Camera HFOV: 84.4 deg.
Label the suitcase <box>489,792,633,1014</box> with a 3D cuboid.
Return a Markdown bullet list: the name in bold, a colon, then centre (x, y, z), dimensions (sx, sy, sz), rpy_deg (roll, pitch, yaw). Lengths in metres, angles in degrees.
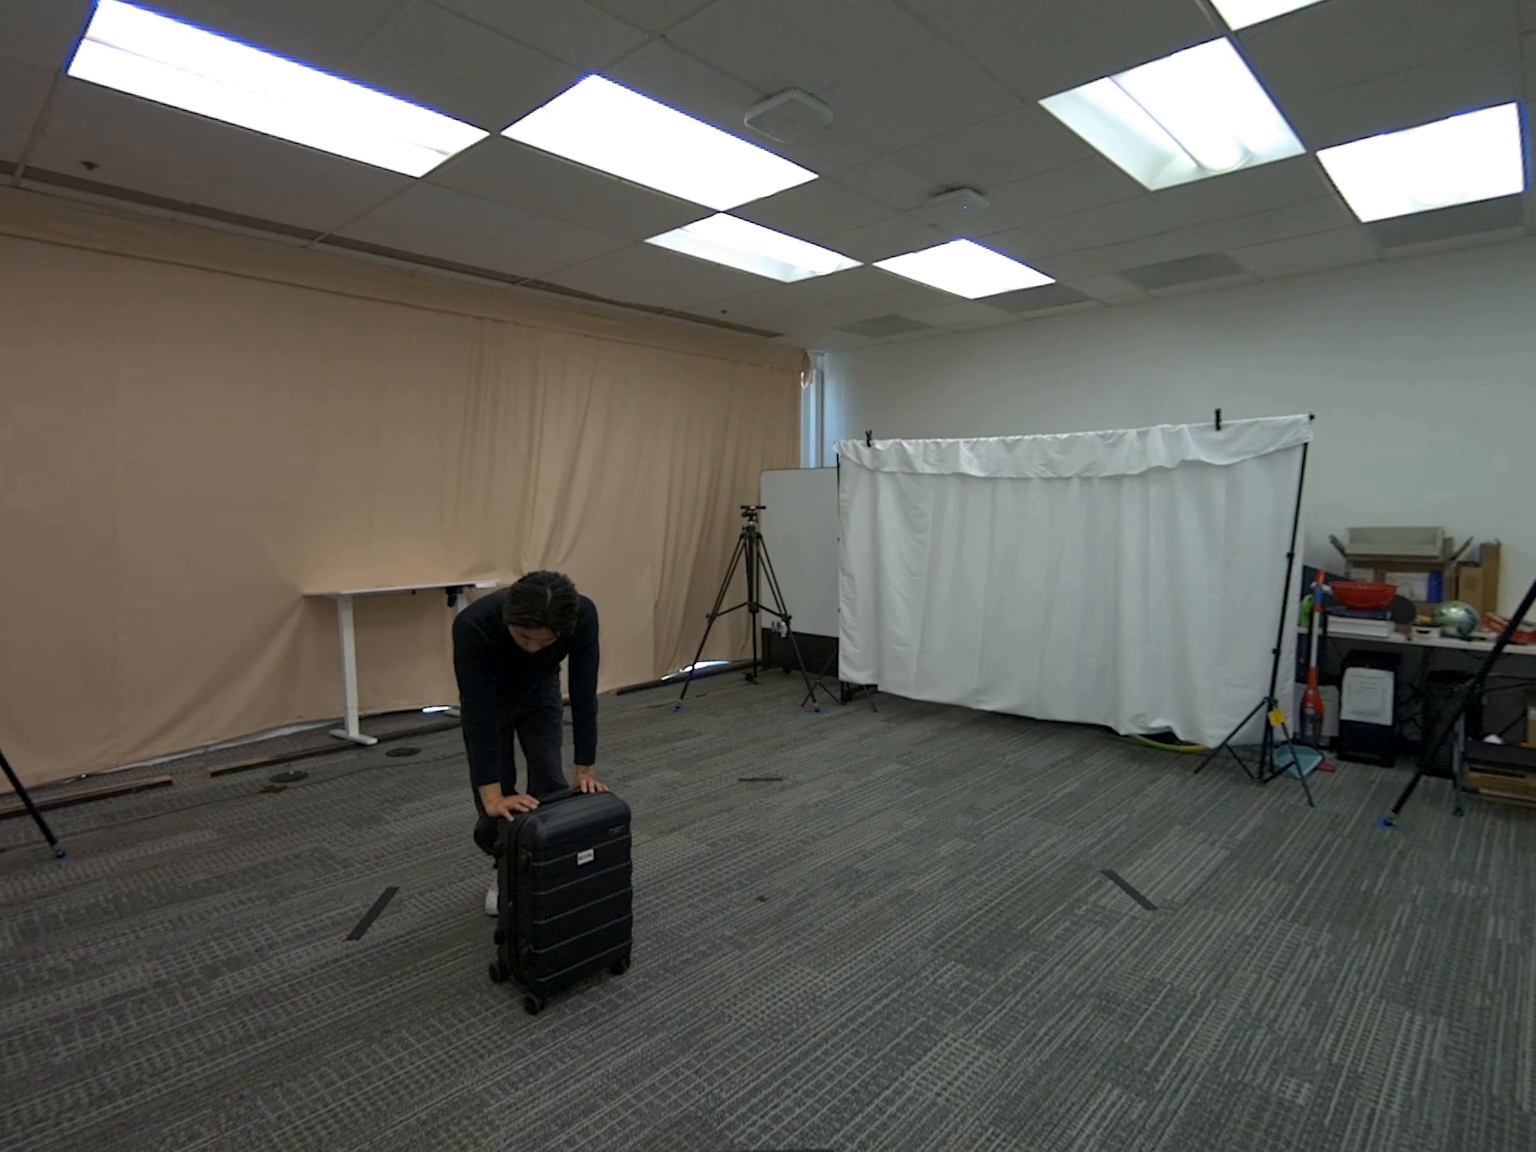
- **suitcase**: centre (-0.595, 0.918, 2.474), dimensions (0.363, 0.548, 0.257), rpy_deg (-1, 5, -44)
